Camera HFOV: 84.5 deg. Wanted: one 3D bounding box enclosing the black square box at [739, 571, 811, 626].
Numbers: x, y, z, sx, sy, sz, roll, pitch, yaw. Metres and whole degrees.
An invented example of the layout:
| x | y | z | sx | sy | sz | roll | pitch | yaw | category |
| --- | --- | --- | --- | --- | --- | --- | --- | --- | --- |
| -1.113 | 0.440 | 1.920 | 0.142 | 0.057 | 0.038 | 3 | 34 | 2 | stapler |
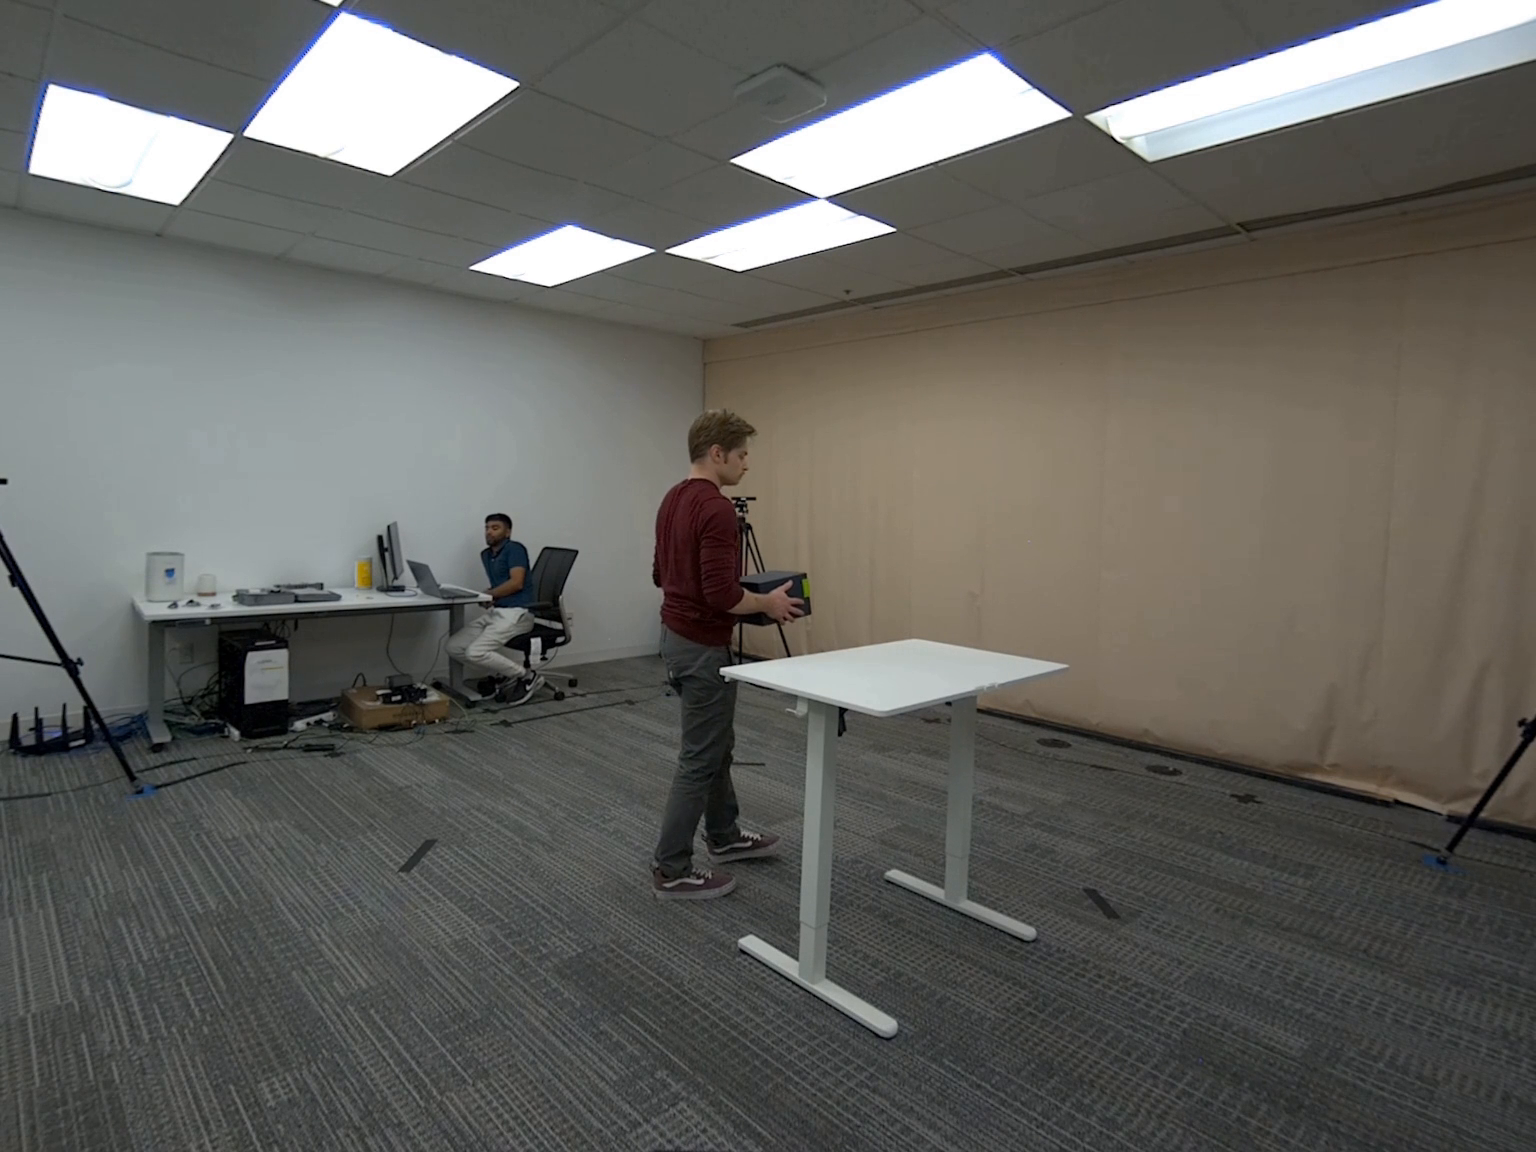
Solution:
| x | y | z | sx | sy | sz | roll | pitch | yaw | category |
| --- | --- | --- | --- | --- | --- | --- | --- | --- | --- |
| -0.007 | 0.070 | 3.078 | 0.213 | 0.155 | 0.233 | -10 | 8 | -28 | black square box |
